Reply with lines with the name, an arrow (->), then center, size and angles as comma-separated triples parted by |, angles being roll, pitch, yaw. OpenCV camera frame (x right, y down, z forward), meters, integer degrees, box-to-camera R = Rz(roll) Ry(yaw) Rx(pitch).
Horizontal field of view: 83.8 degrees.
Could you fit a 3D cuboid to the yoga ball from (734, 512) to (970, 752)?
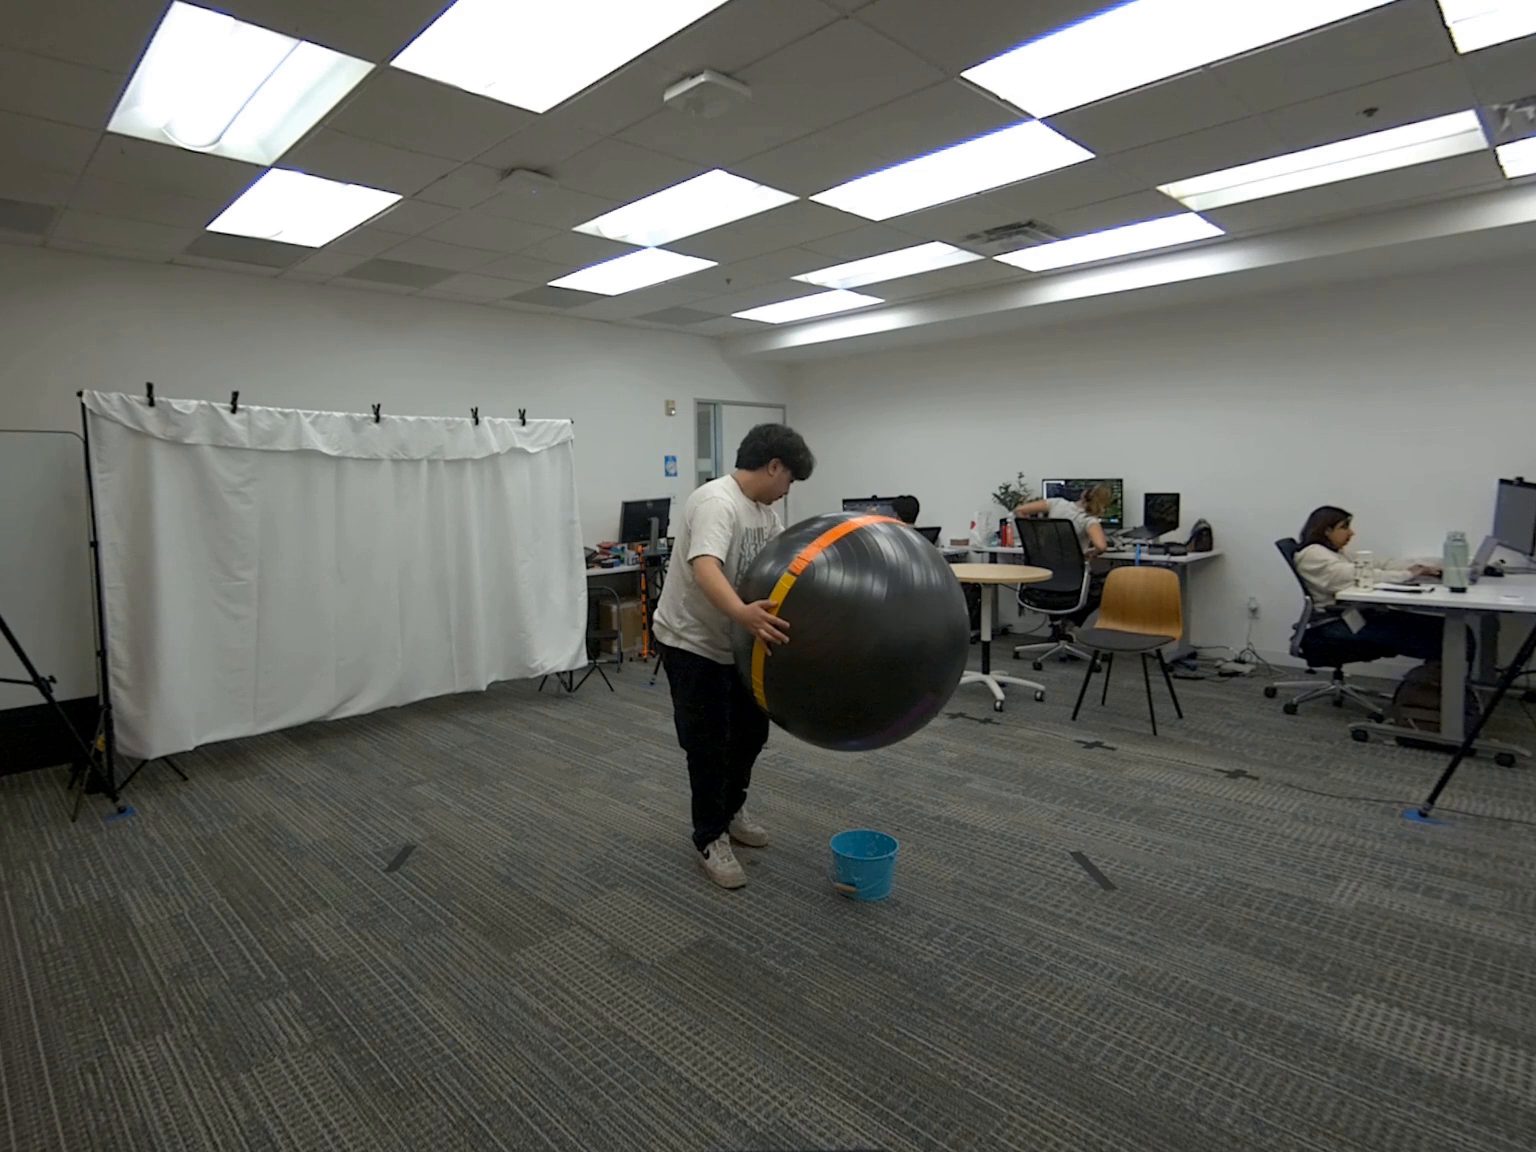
yoga ball -> 0.263, 0.178, 2.742 | 0.757, 0.755, 0.762 | -1, 5, -2
